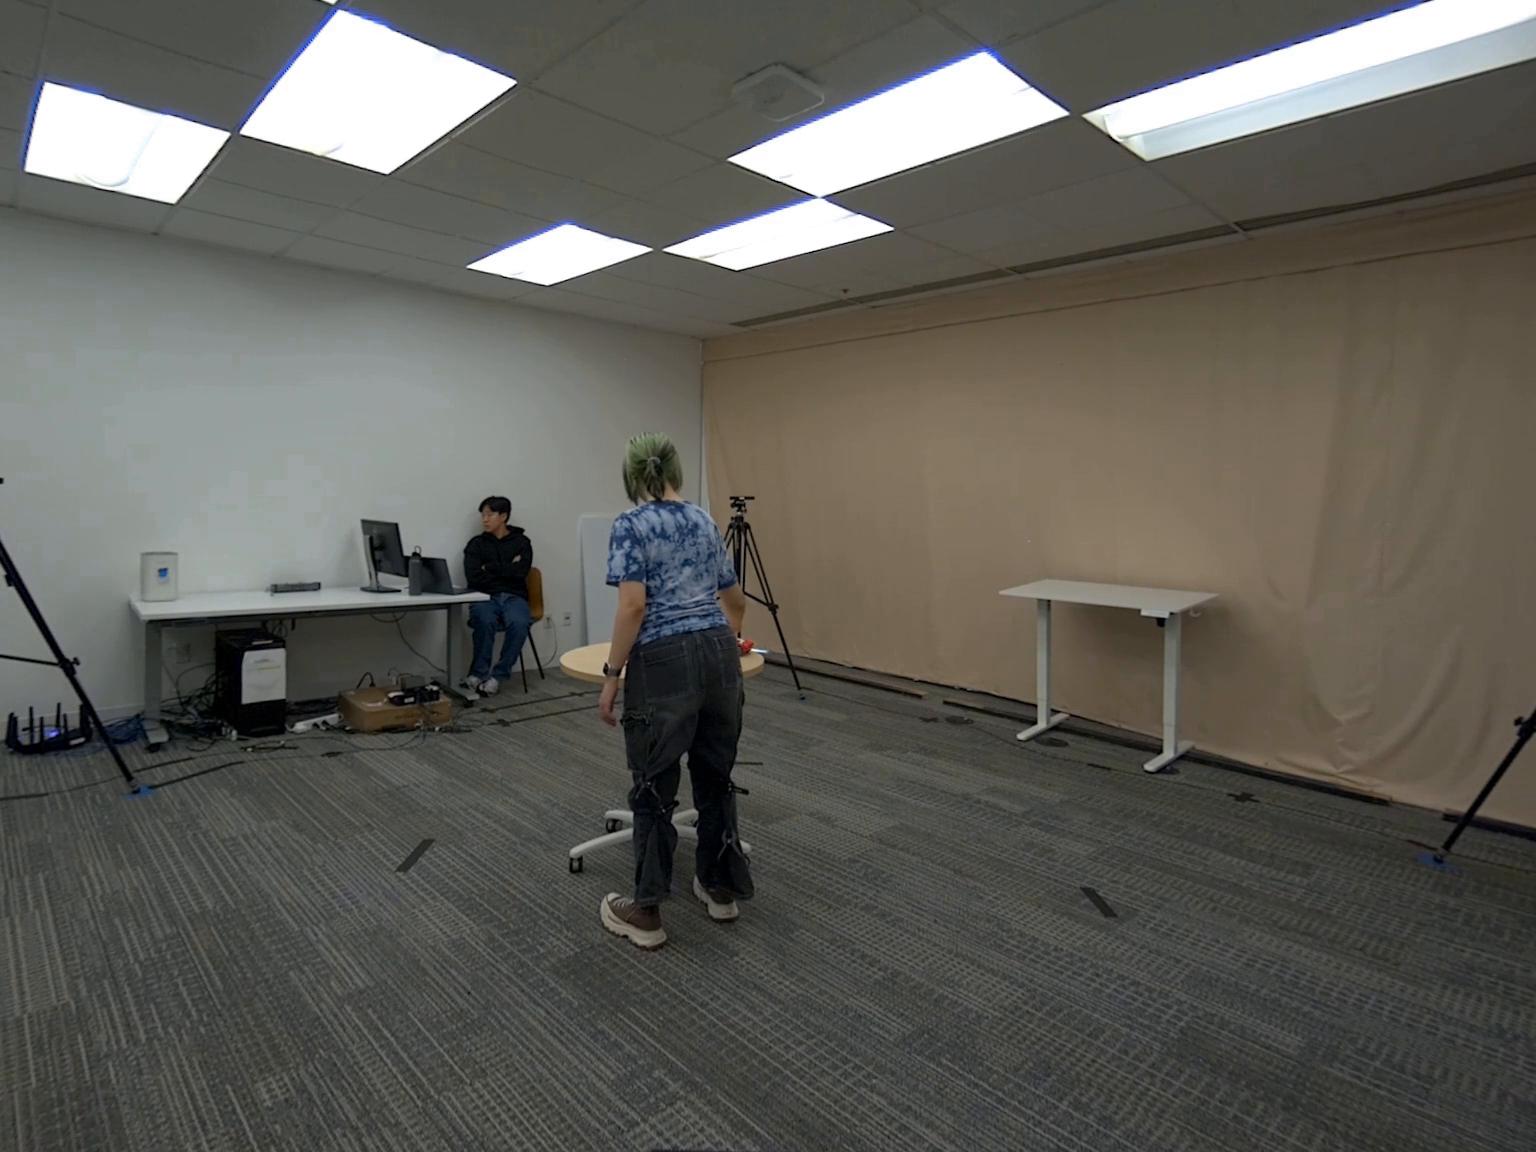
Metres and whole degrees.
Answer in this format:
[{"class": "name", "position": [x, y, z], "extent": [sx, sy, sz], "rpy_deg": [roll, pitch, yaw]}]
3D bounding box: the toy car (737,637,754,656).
[{"class": "toy car", "position": [-0.197, 0.272, 3.298], "extent": [0.259, 0.083, 0.128], "rpy_deg": [14, 9, 21]}]
